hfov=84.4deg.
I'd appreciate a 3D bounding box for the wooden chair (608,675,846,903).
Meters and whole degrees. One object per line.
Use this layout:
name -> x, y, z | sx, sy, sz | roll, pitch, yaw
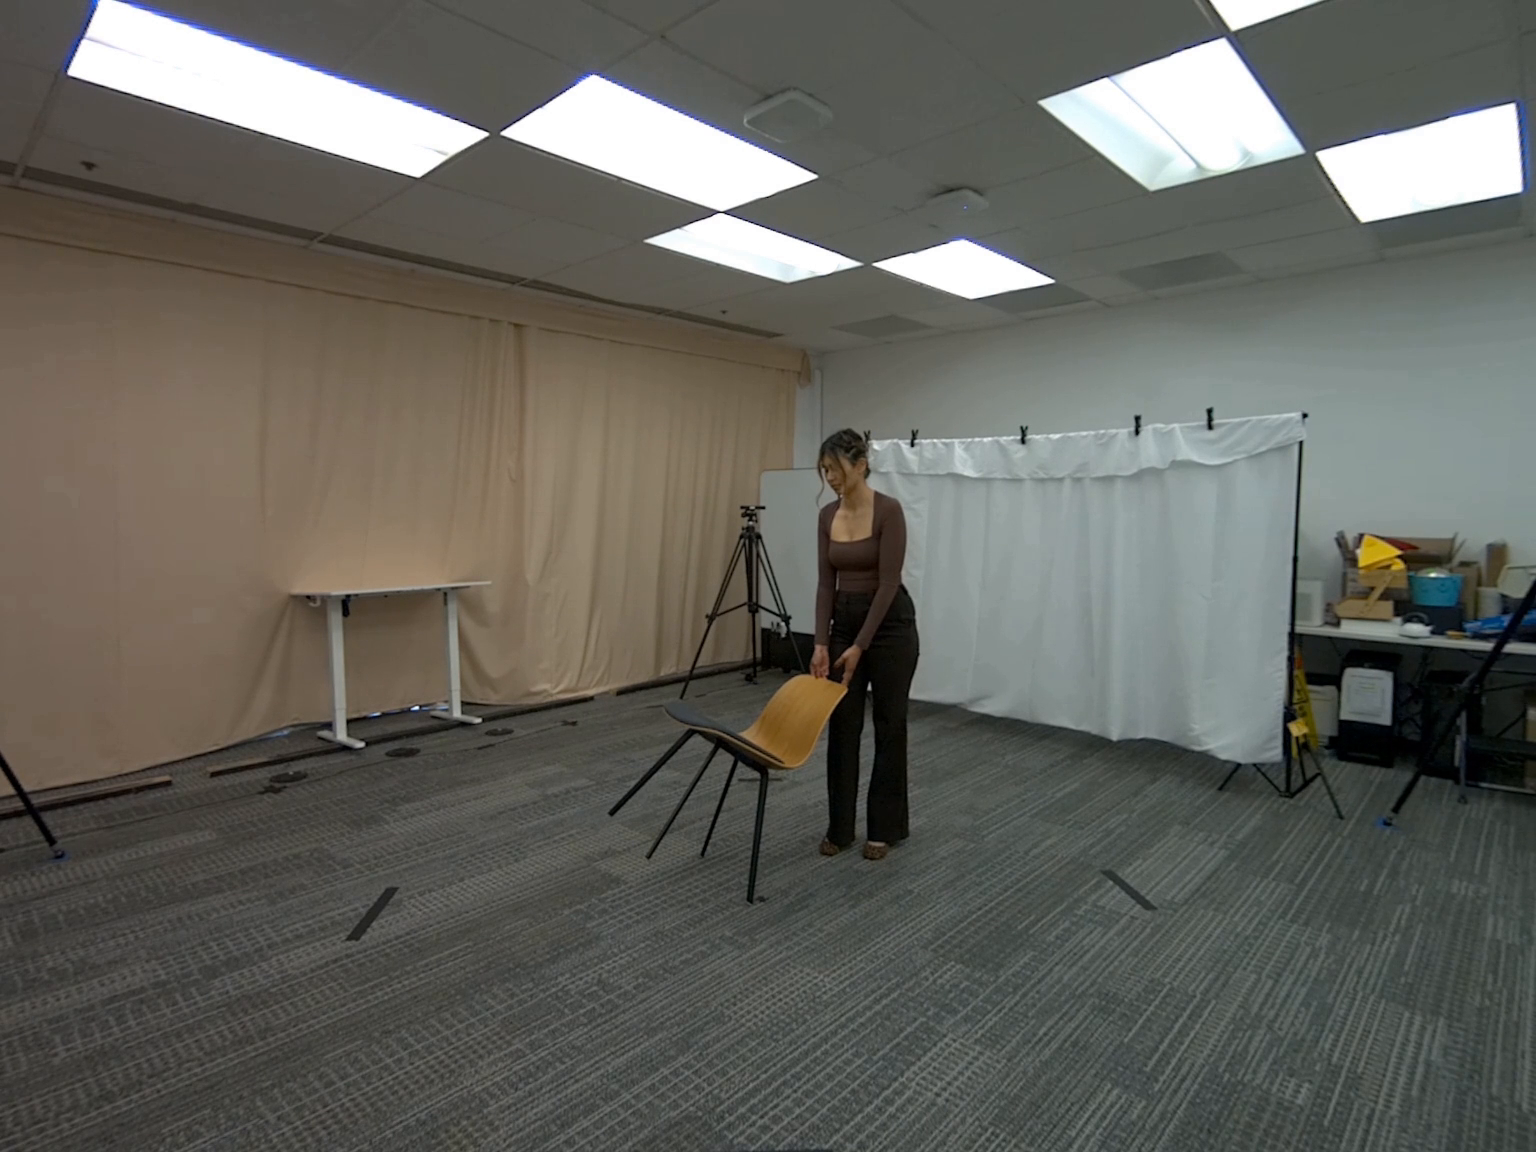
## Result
wooden chair -> -0.138, 0.646, 3.122 | 0.510, 0.877, 0.491 | 36, -12, -23
